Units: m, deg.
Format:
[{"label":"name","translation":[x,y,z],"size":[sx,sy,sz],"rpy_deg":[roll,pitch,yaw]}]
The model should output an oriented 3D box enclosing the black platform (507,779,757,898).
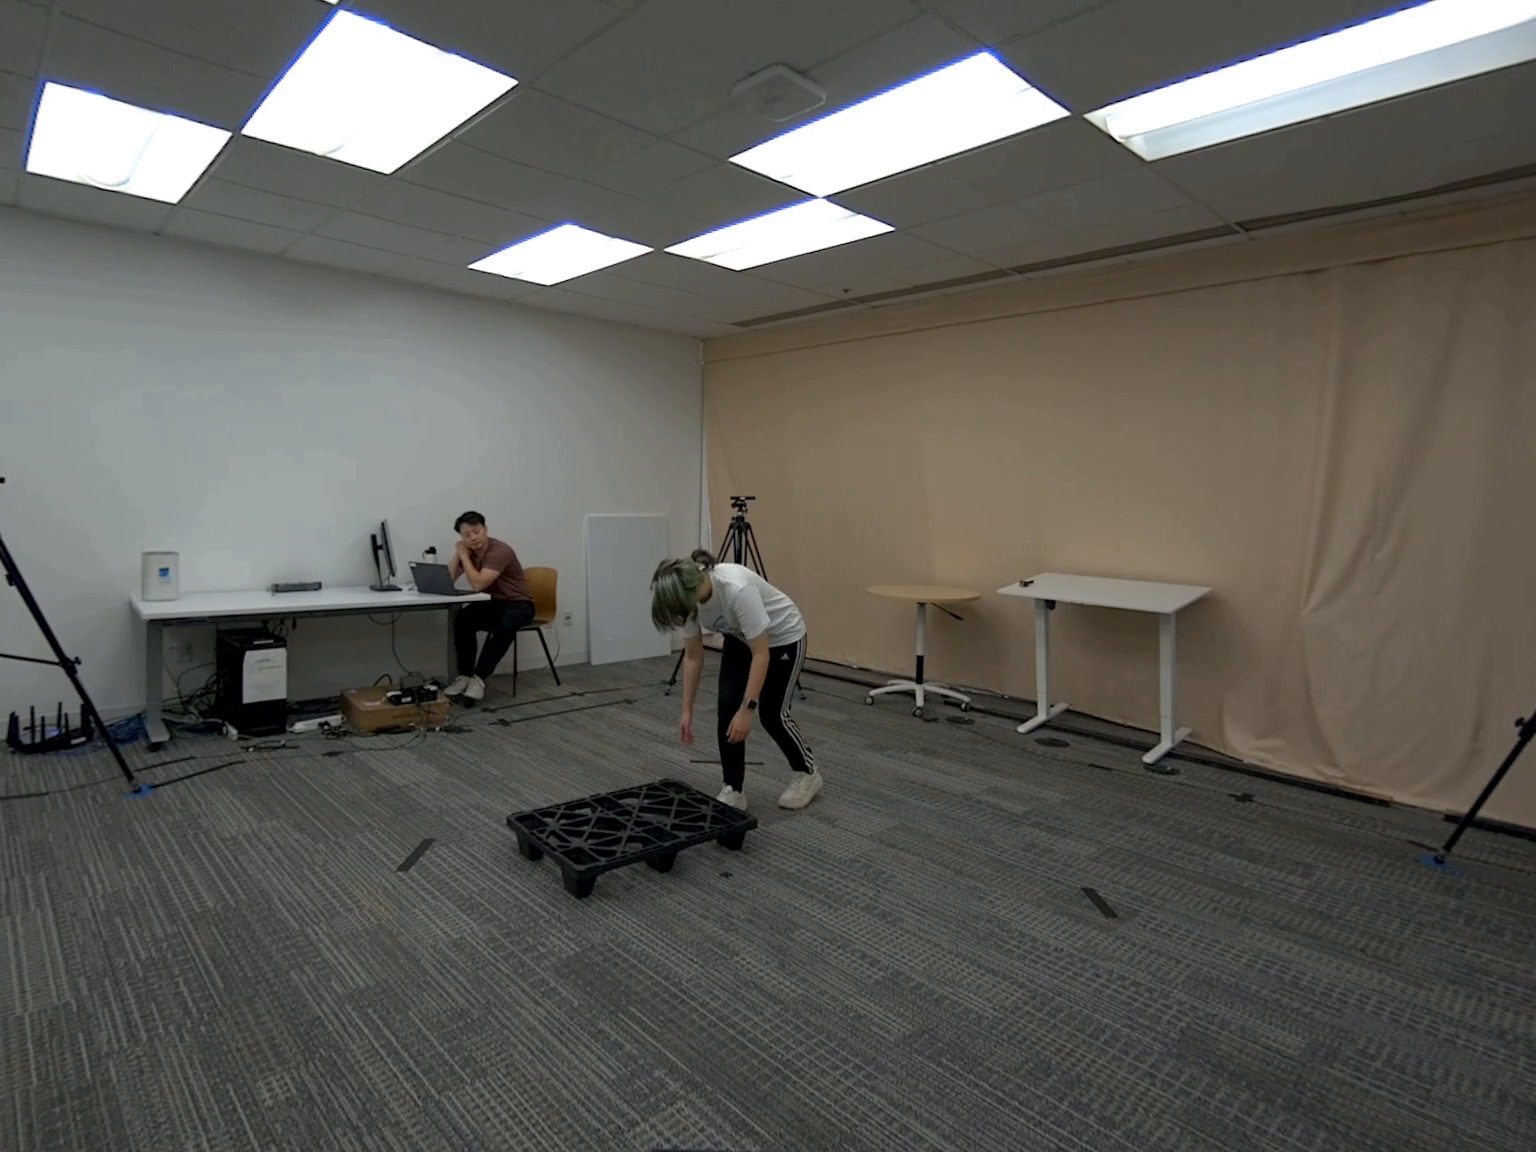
[{"label":"black platform","translation":[-0.544,1.013,3.296],"size":[0.787,0.143,0.620],"rpy_deg":[-2,6,-40]}]
